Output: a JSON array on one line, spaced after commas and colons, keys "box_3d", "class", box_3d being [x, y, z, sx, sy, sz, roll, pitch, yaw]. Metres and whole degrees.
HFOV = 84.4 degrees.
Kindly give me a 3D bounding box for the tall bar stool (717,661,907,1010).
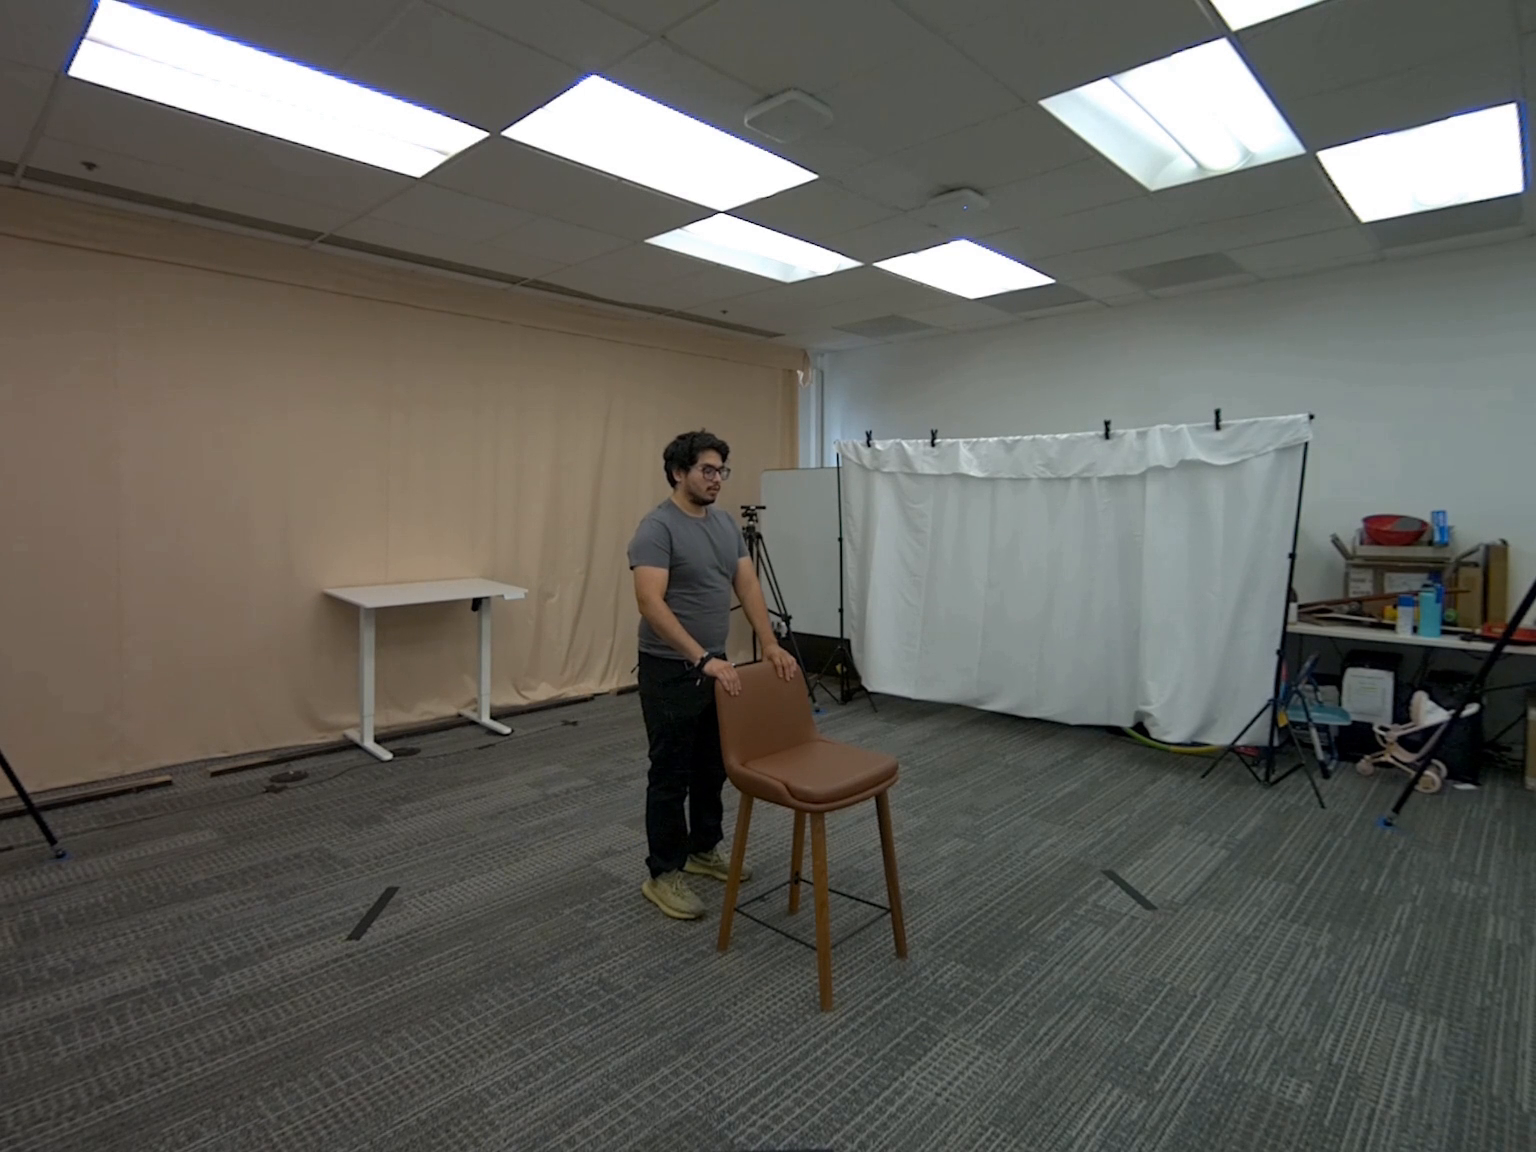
[{"box_3d": [0.125, 0.739, 2.596, 0.483, 0.888, 0.442, 0, 3, 44], "class": "tall bar stool"}]
